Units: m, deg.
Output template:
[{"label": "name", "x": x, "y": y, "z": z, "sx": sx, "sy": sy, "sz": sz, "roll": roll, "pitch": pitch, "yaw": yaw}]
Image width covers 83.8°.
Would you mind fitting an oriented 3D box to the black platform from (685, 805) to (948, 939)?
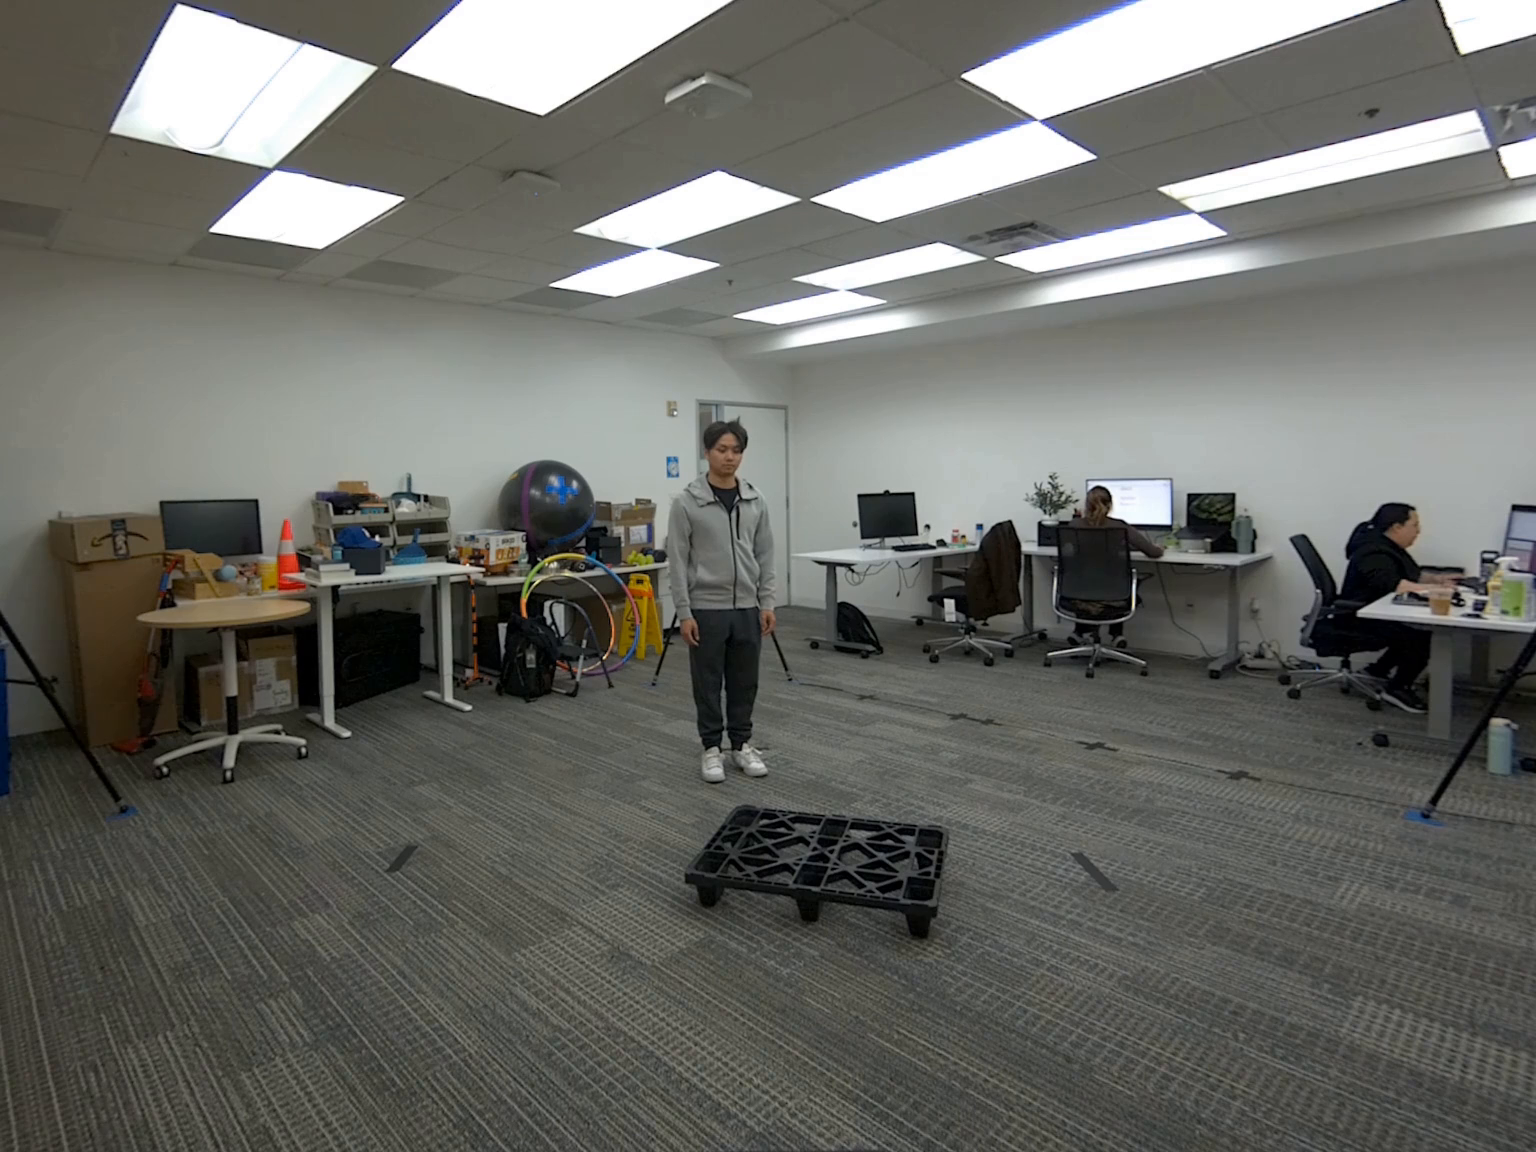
[{"label": "black platform", "x": 0.188, "y": 0.991, "z": 2.922, "sx": 0.819, "sy": 0.143, "sz": 0.597, "roll": 2, "pitch": 6, "yaw": 17}]
